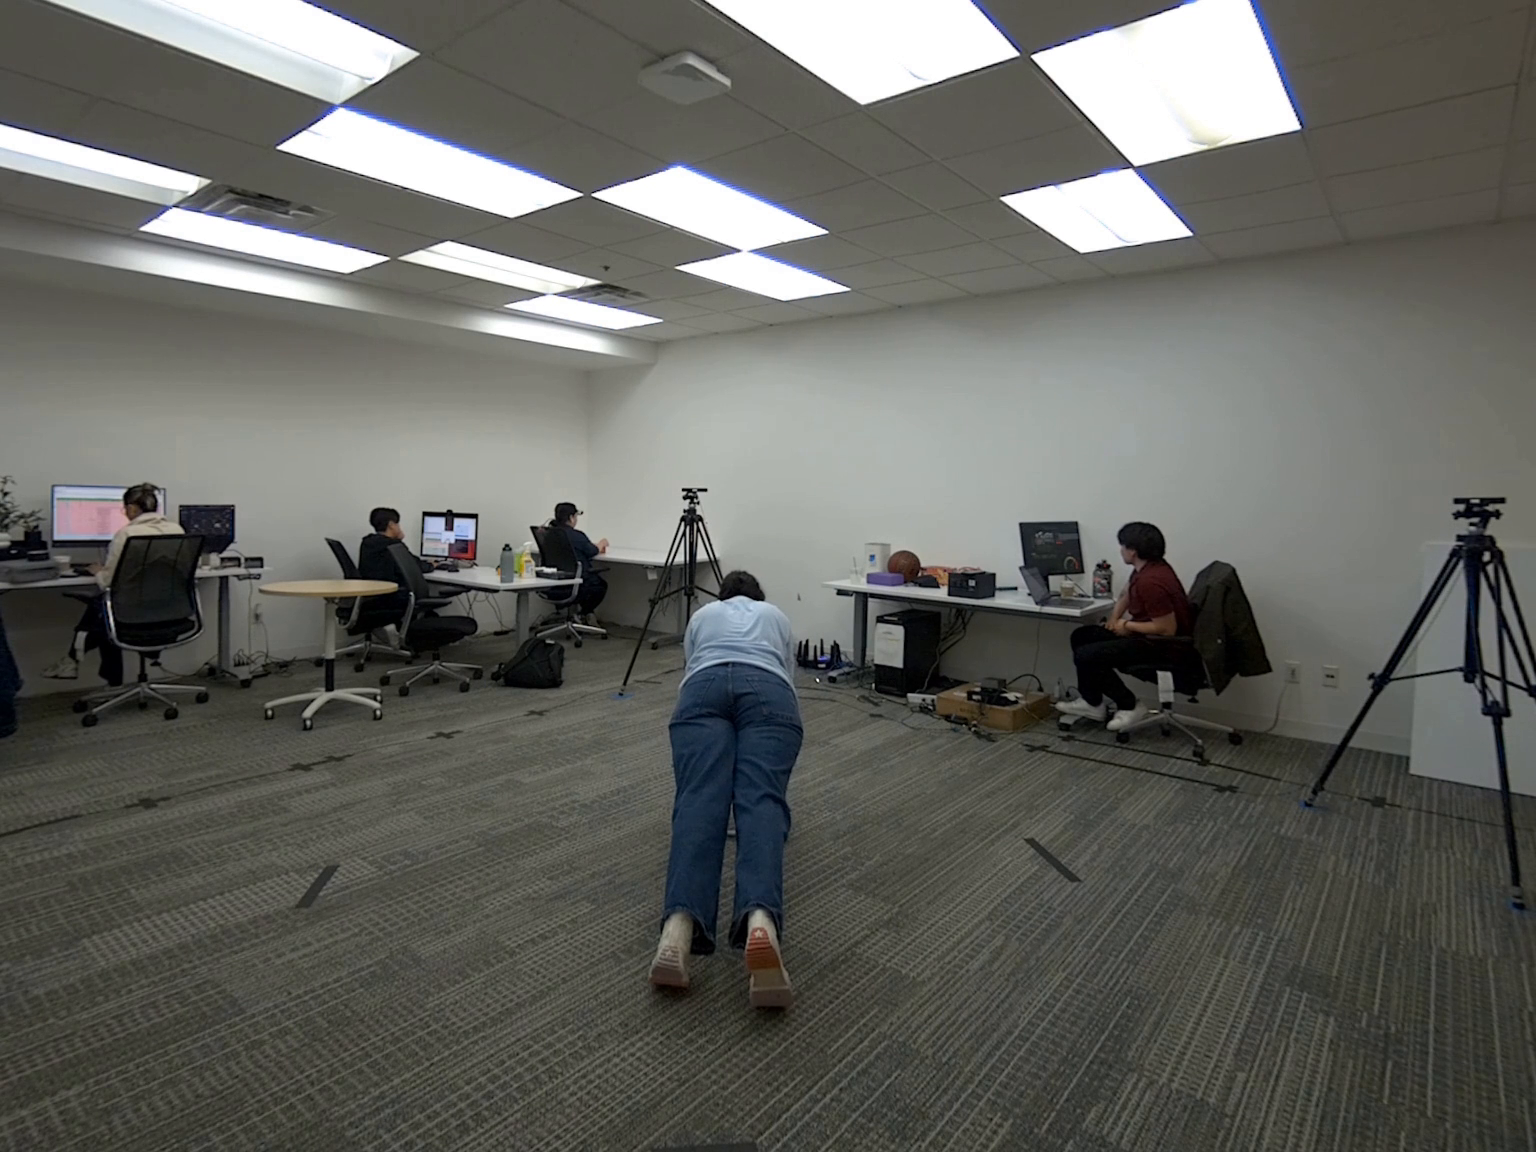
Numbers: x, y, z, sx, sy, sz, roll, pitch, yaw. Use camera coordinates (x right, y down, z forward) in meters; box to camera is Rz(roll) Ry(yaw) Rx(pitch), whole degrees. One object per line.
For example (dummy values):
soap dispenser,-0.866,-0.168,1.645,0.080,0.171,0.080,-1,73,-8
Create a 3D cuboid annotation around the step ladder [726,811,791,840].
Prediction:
step ladder,-0.124,0.724,3.550,0.433,0.604,0.349,1,3,3
